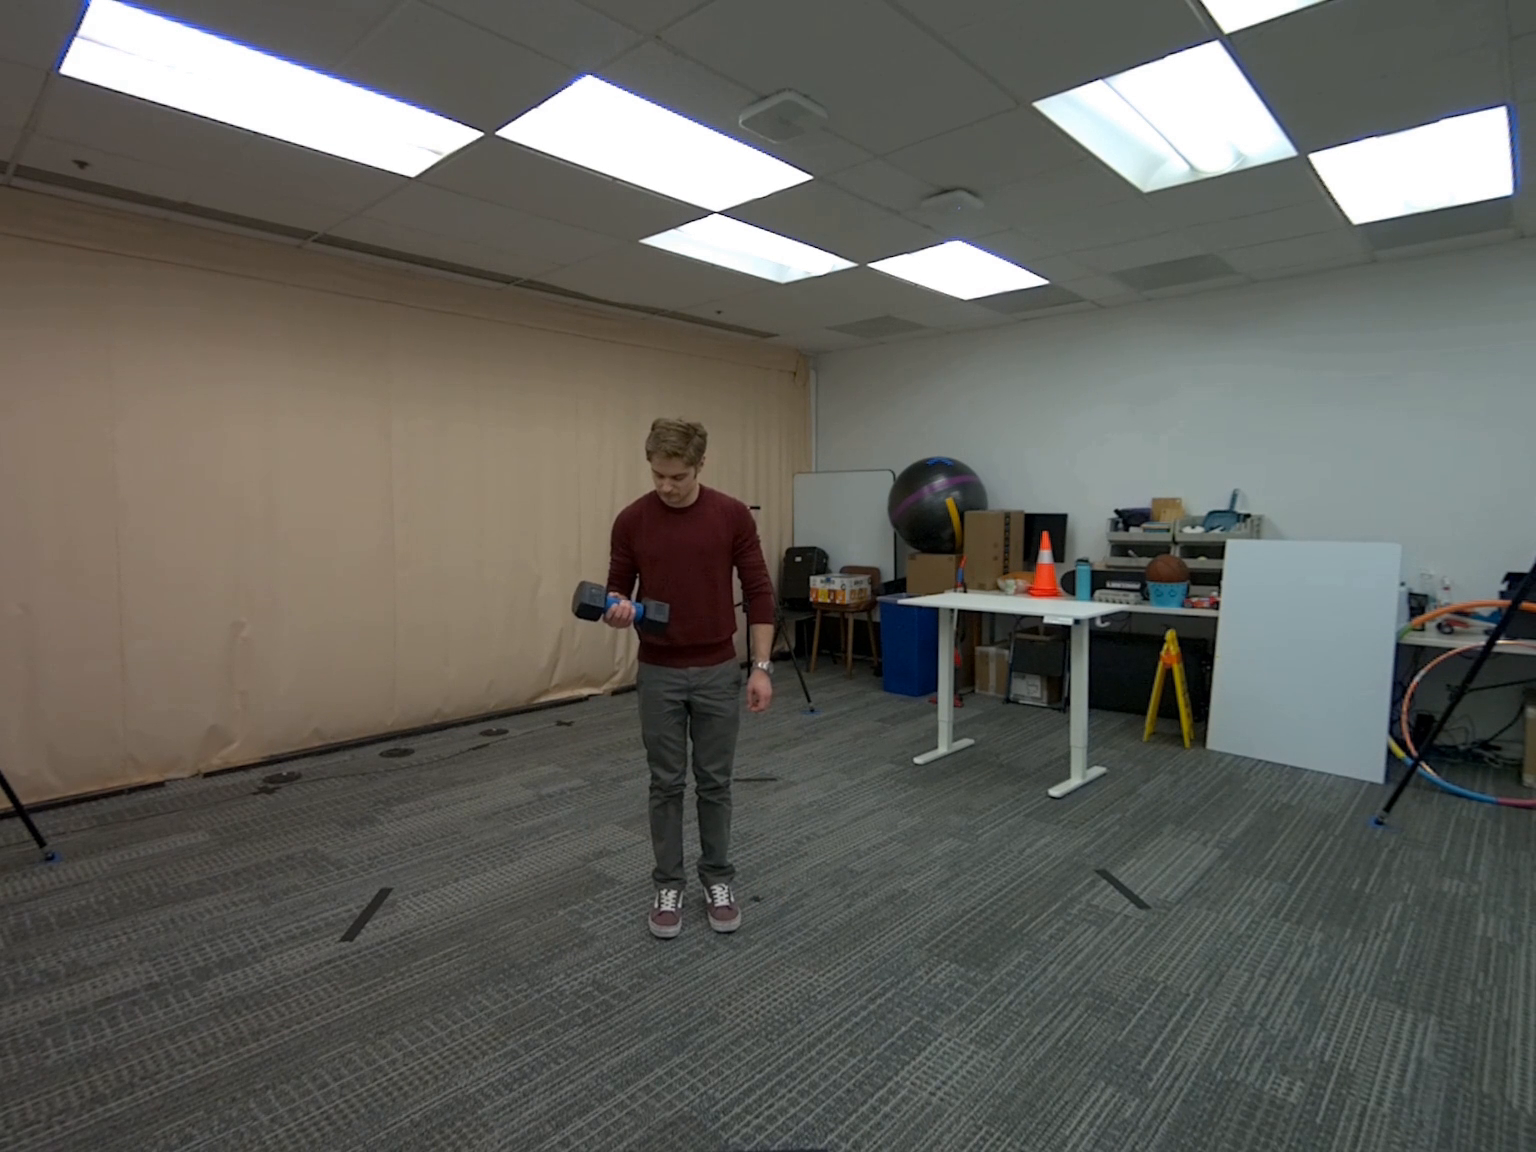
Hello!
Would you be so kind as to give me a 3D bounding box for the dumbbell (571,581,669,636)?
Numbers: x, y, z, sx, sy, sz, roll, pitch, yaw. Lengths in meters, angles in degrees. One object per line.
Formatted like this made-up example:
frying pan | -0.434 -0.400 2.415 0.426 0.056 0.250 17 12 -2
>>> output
dumbbell | -0.451 0.096 2.588 0.287 0.108 0.126 11 3 -21
